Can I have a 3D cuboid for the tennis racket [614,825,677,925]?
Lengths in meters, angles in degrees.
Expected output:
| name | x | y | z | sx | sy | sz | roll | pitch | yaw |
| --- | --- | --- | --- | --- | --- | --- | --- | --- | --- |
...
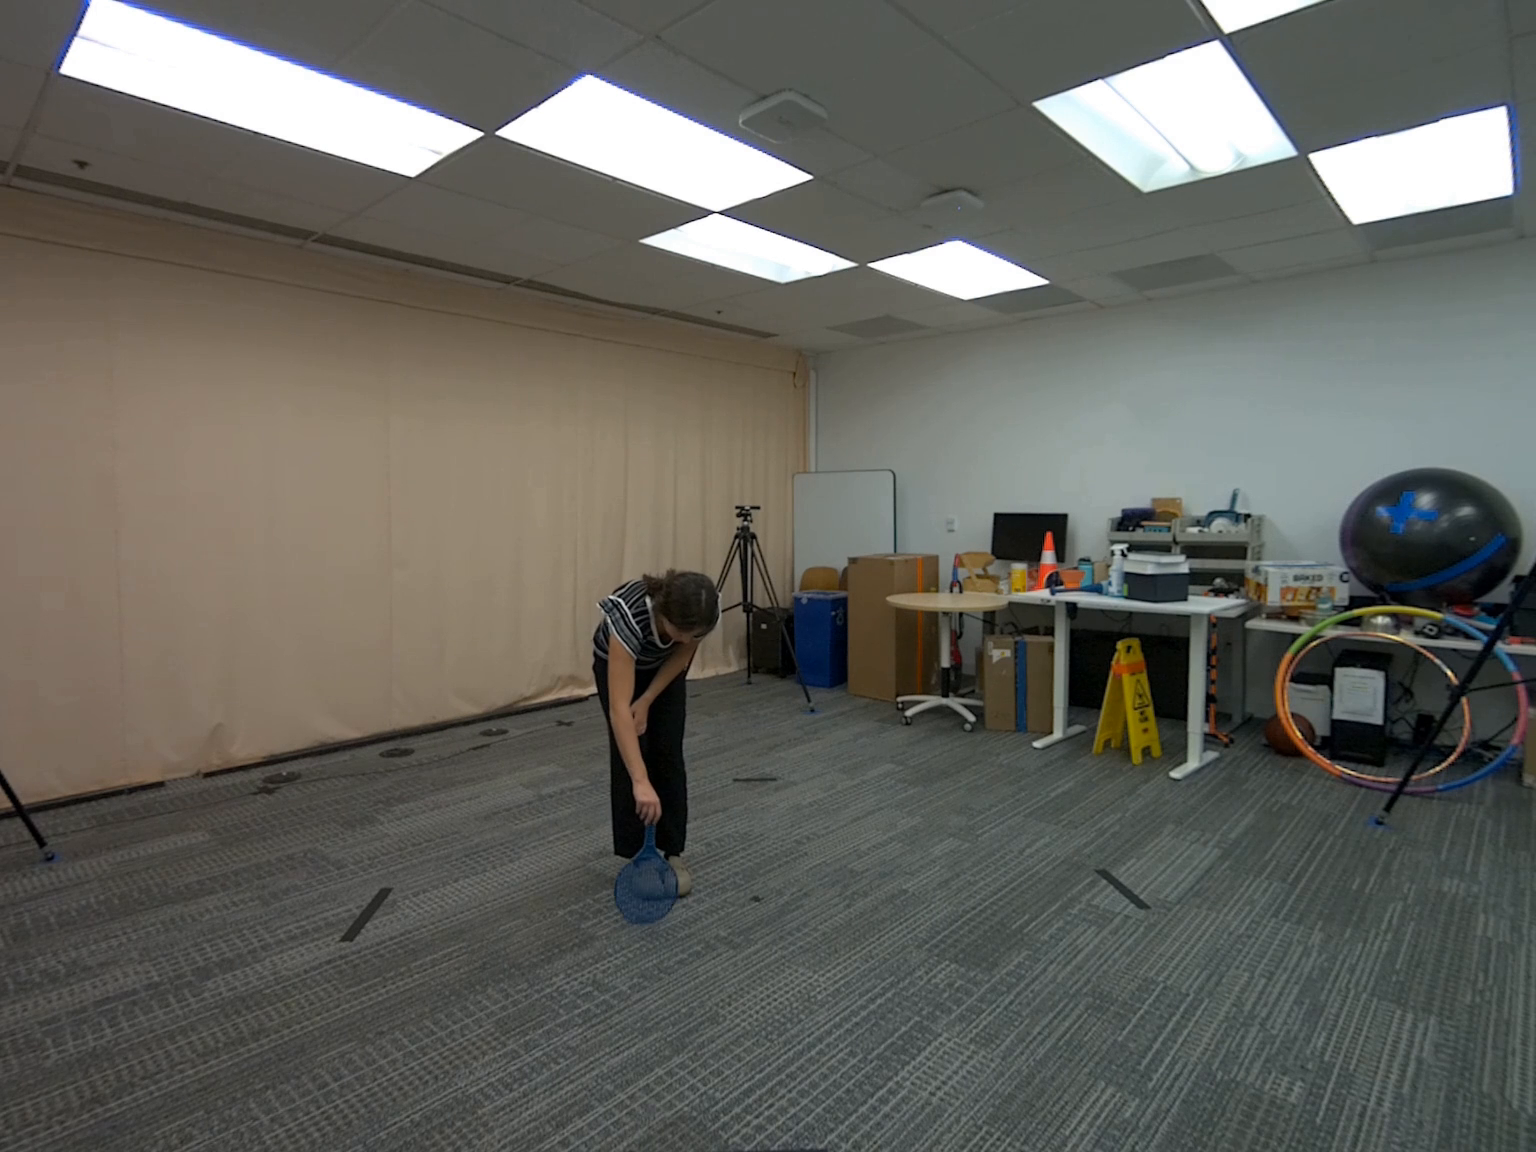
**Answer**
| name | x | y | z | sx | sy | sz | roll | pitch | yaw |
| --- | --- | --- | --- | --- | --- | --- | --- | --- | --- |
| tennis racket | -0.397 | 0.949 | 2.763 | 0.211 | 0.429 | 0.032 | -1 | 14 | -12 |
